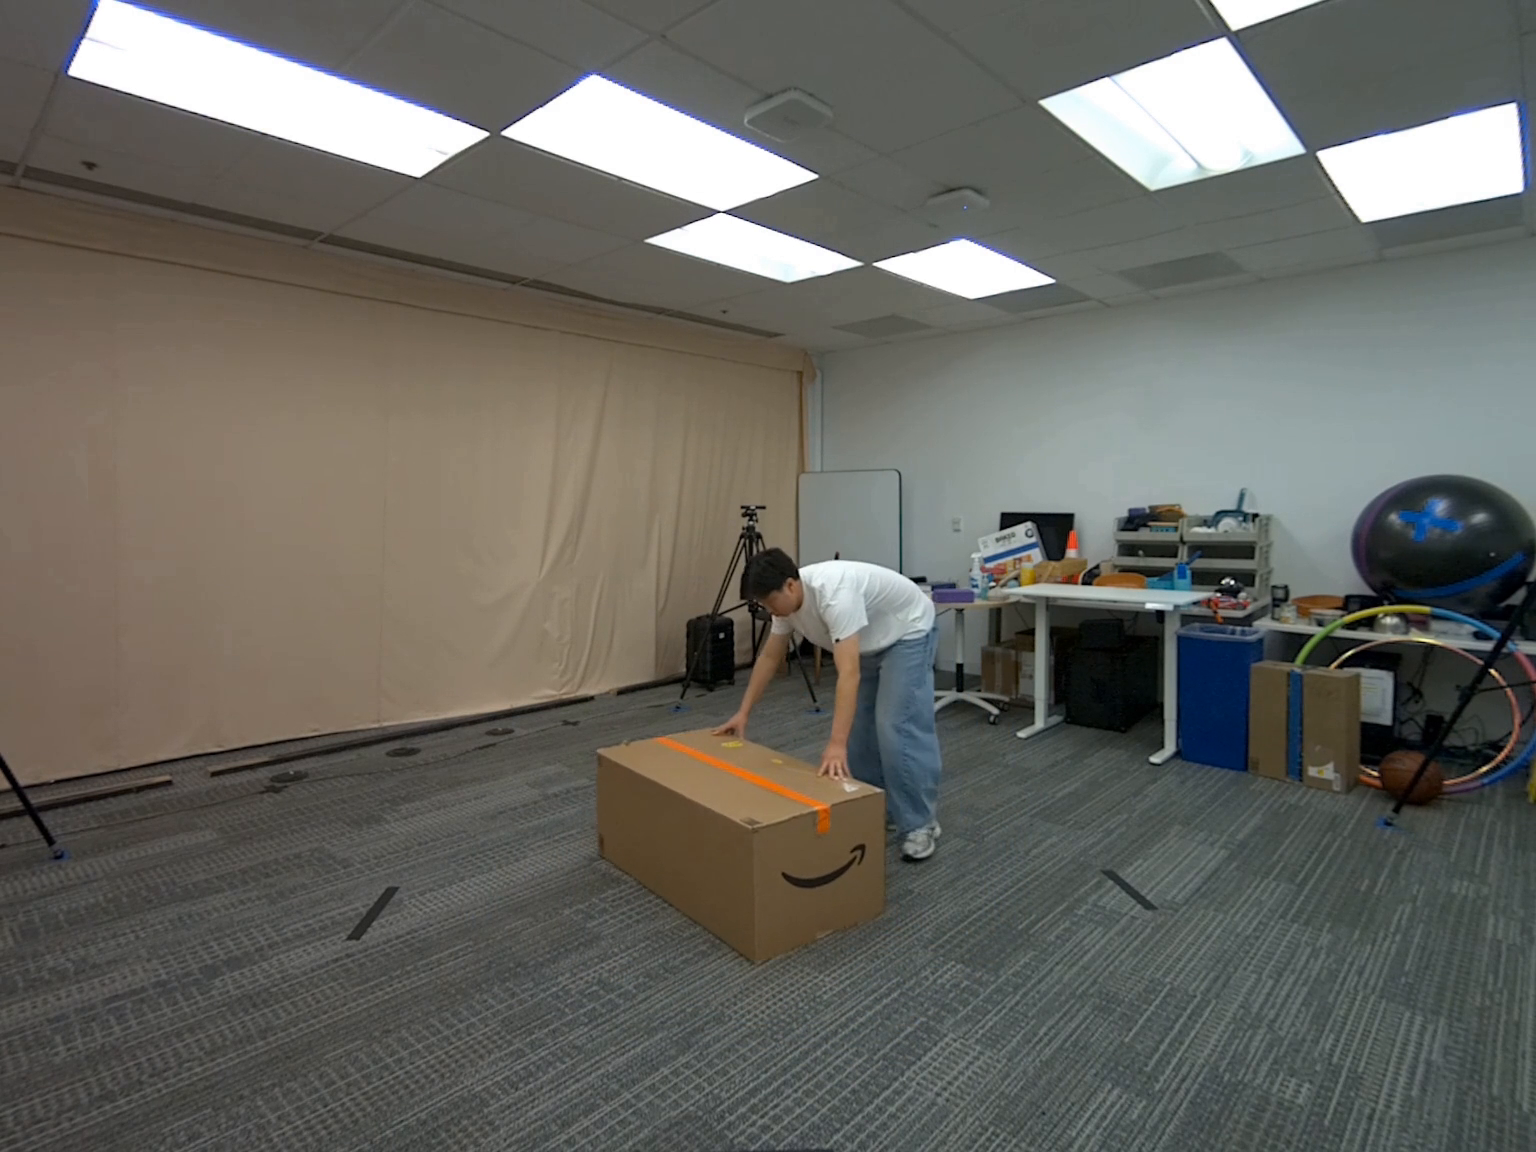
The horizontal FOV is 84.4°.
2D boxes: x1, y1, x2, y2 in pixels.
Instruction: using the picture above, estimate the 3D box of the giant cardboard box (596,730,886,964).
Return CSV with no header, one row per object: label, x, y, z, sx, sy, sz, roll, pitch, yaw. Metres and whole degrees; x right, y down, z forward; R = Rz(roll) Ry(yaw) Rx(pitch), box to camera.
giant cardboard box,-0.140,0.920,3.114,0.560,0.425,1.059,-2,5,-38
